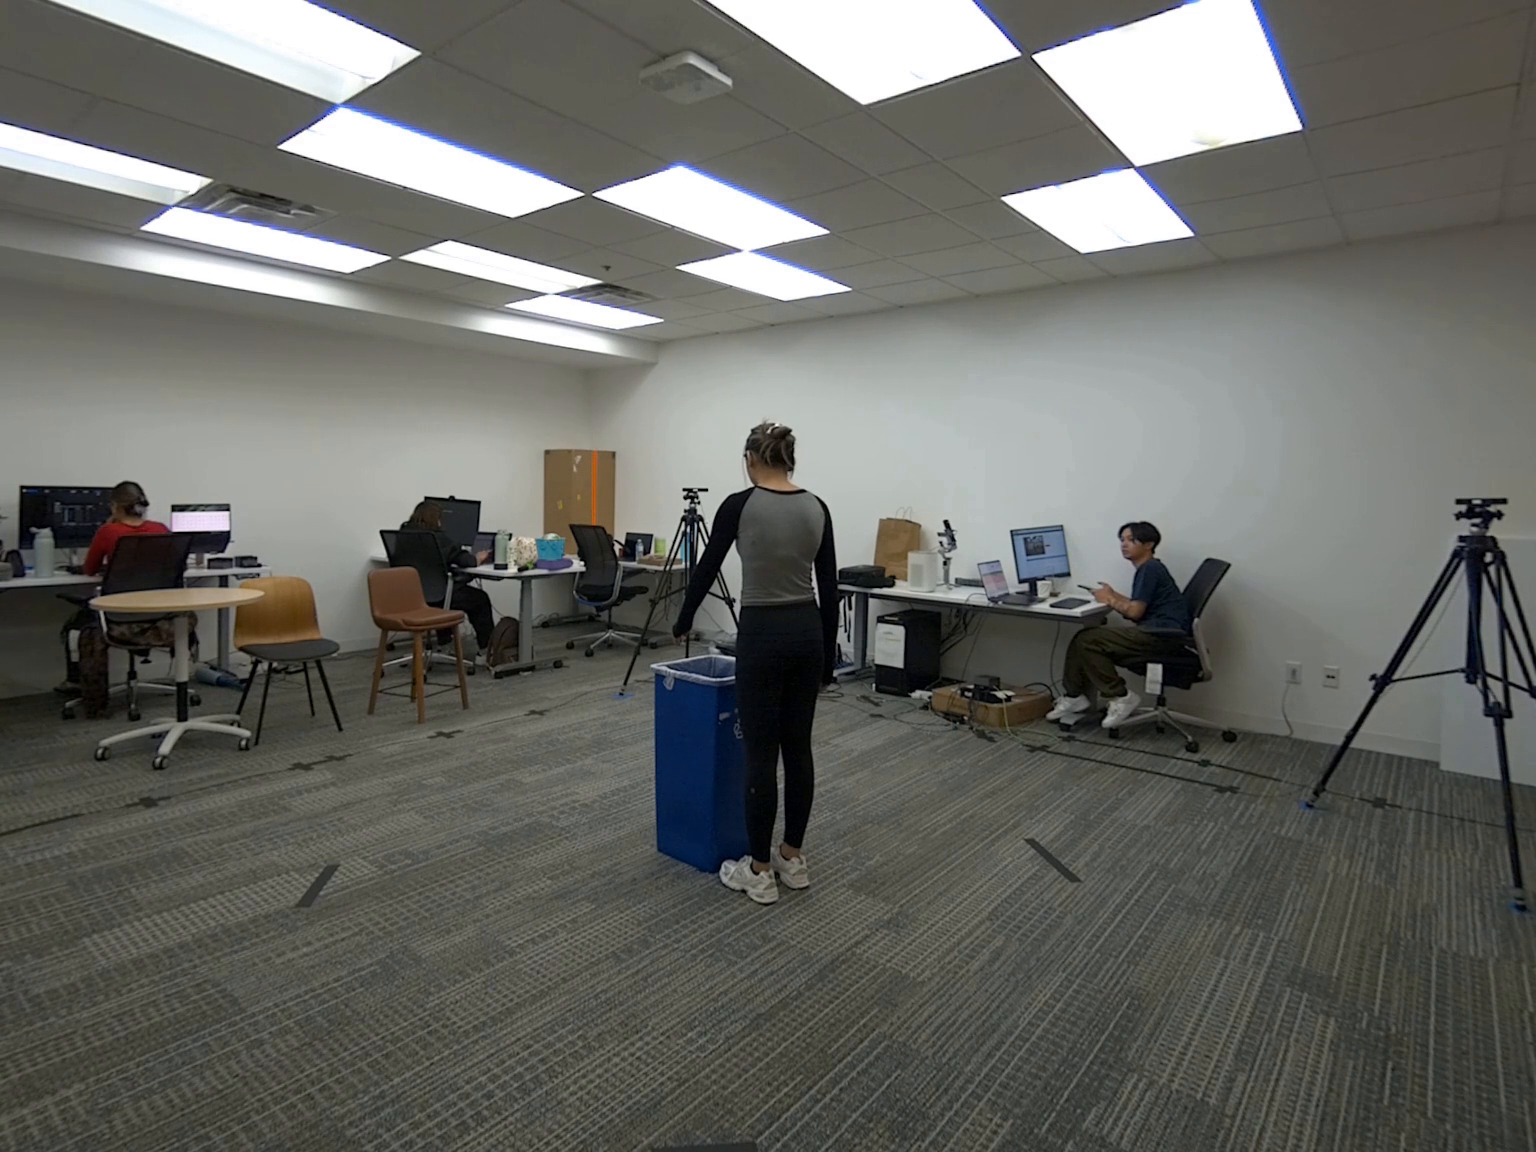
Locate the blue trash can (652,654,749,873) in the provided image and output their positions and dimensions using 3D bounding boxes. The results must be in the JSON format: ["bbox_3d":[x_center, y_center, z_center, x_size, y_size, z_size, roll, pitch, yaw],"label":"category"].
[{"bbox_3d":[-0.223,0.696,3.267,0.391,0.711,0.363,4,4,40],"label":"blue trash can"}]
